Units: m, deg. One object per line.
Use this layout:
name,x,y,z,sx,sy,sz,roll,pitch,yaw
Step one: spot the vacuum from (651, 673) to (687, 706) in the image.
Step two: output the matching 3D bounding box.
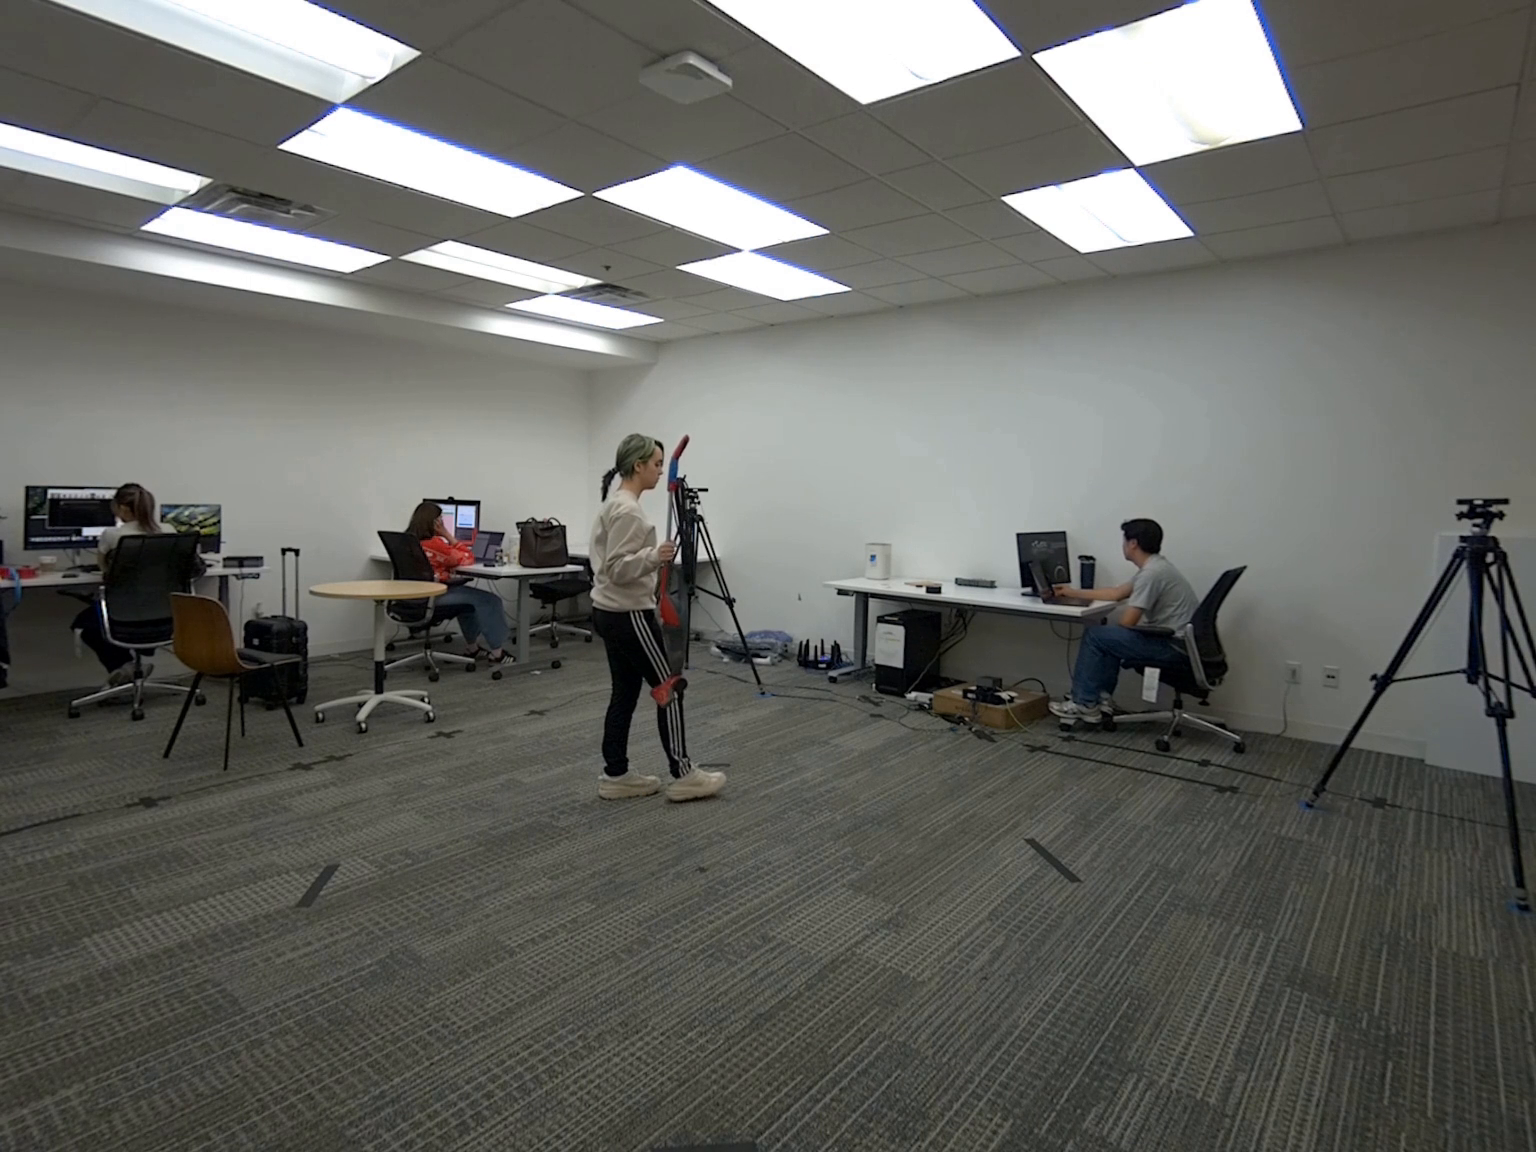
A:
vacuum,-0.381,-0.044,3.515,0.140,1.049,0.259,2,0,-27
